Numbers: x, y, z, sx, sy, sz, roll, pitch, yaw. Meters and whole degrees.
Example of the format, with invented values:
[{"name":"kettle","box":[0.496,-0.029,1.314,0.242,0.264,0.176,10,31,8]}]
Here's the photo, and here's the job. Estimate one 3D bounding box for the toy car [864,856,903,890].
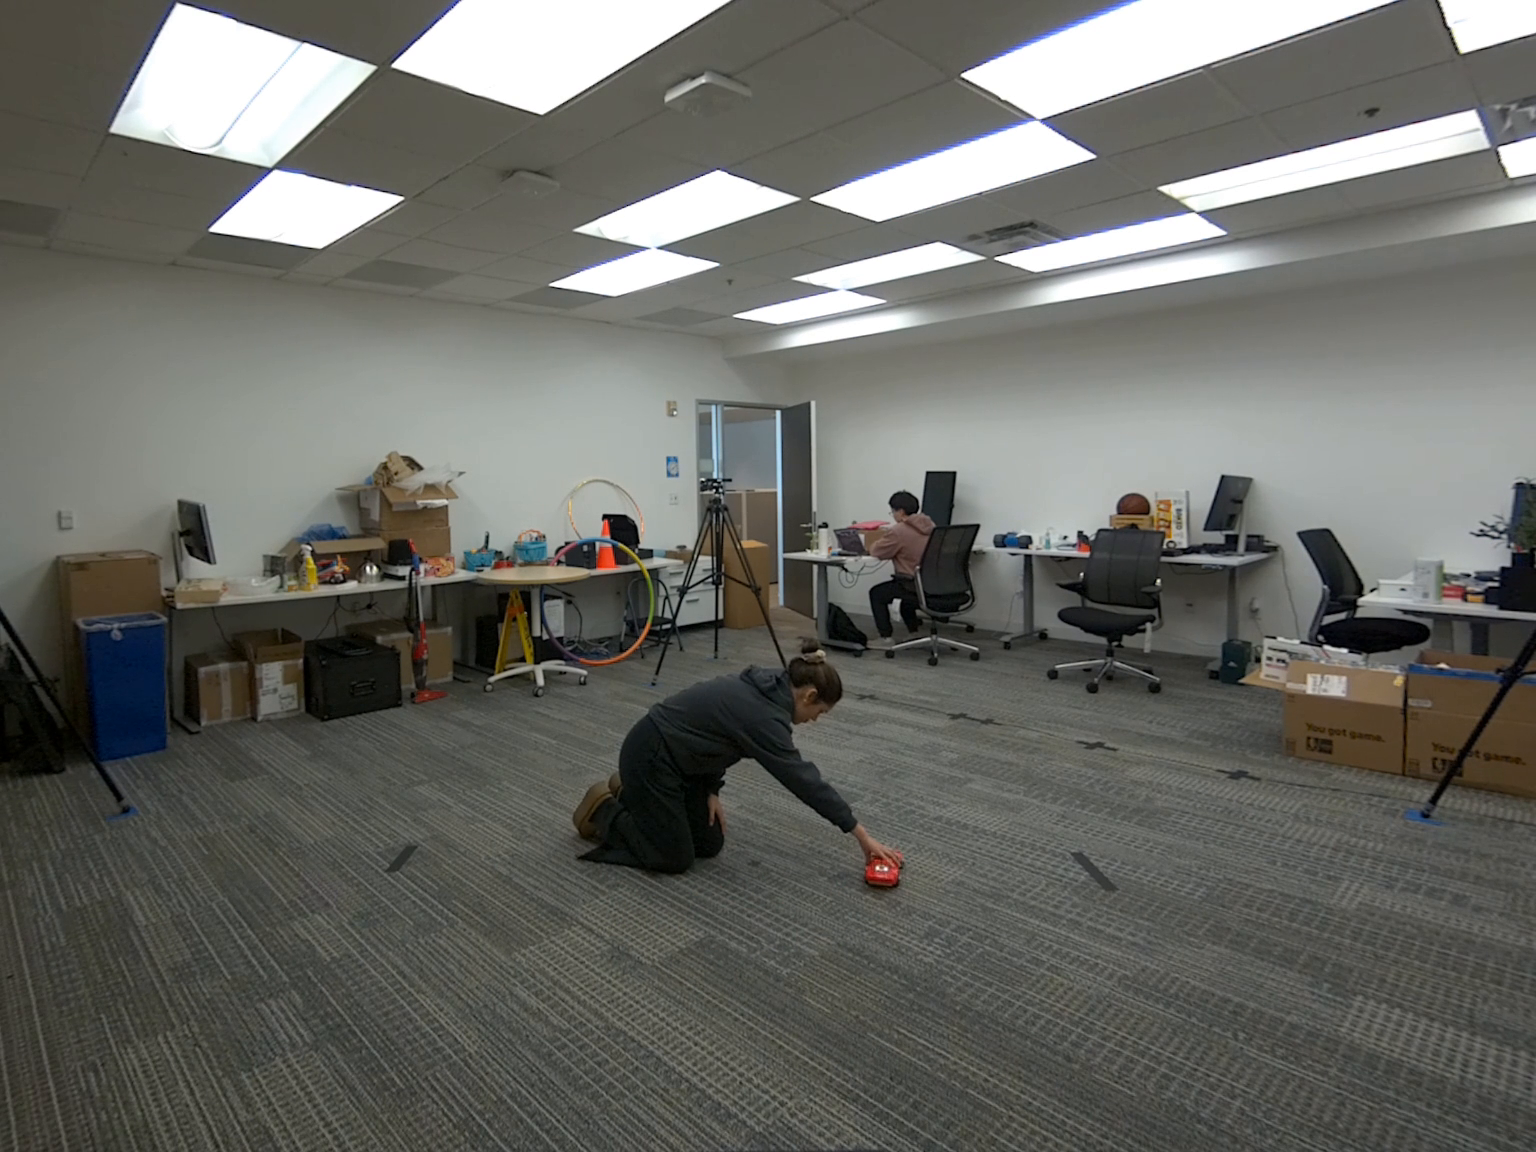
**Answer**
[{"name":"toy car","box":[0.395,1.018,2.960,0.132,0.084,0.249,1,-5,15]}]
